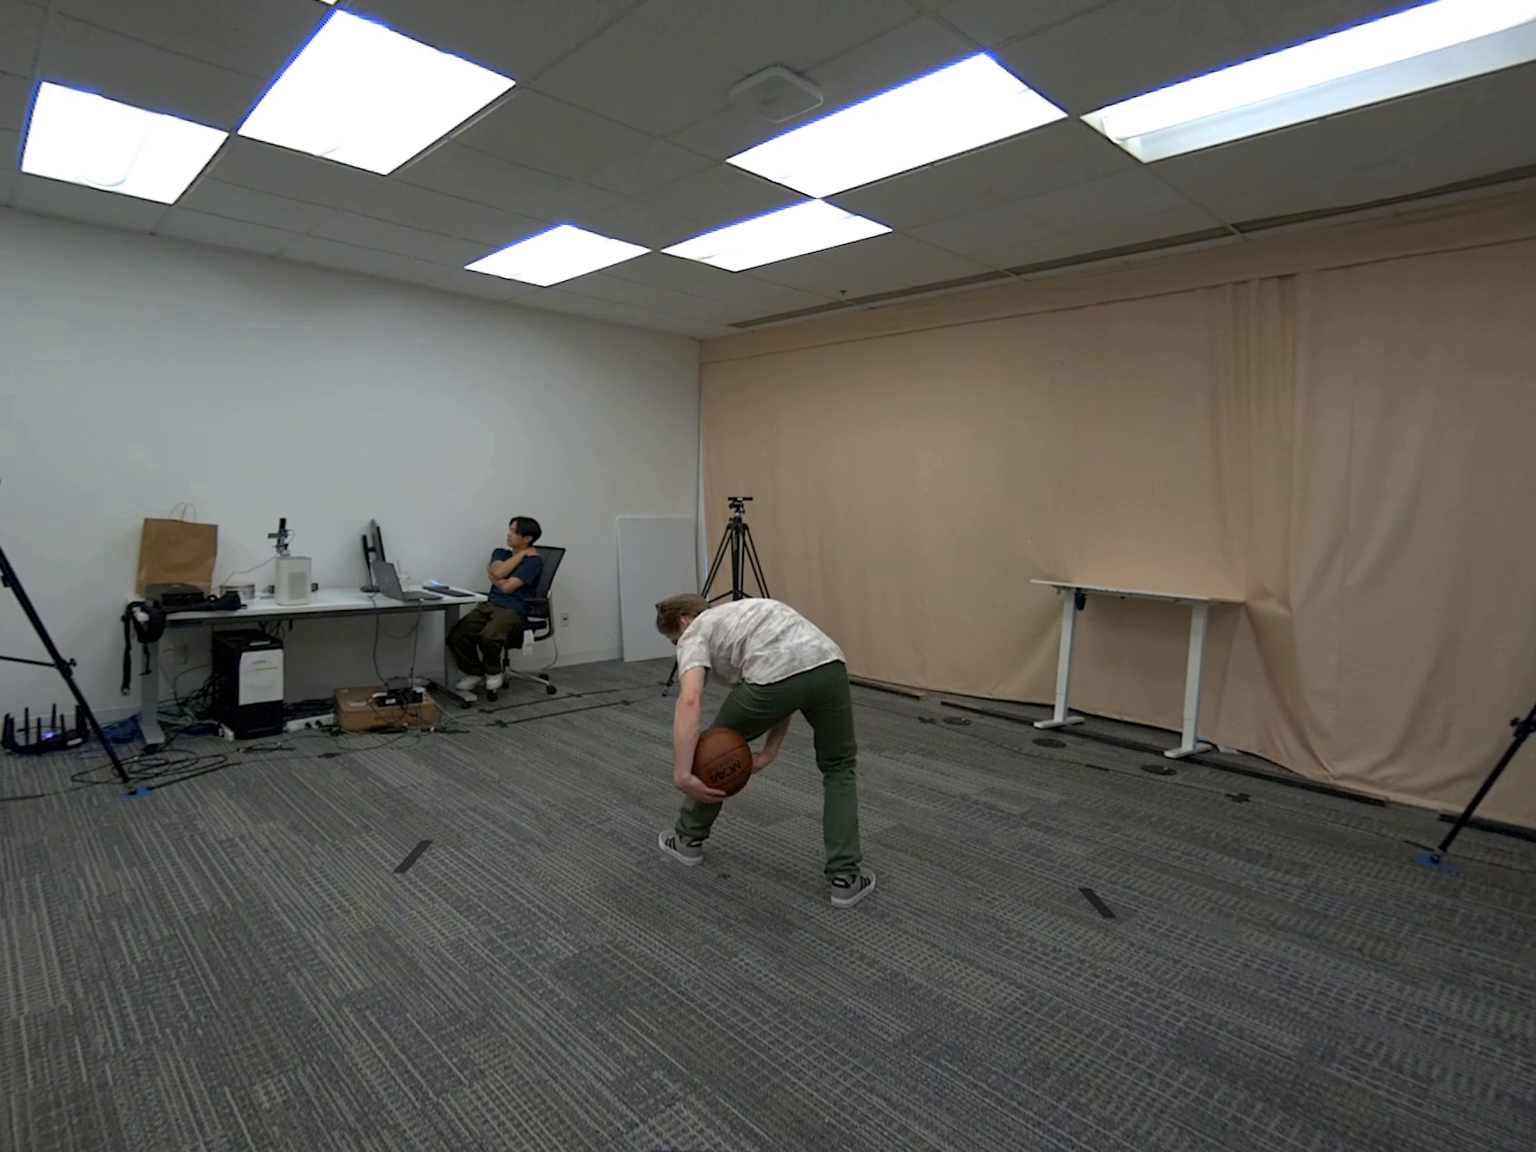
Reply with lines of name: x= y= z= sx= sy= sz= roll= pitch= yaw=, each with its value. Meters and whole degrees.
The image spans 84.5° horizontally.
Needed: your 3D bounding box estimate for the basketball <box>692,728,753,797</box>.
basketball: x=-0.178 y=0.652 z=2.906 sx=0.236 sy=0.235 sz=0.237 roll=1 pitch=4 yaw=-1
